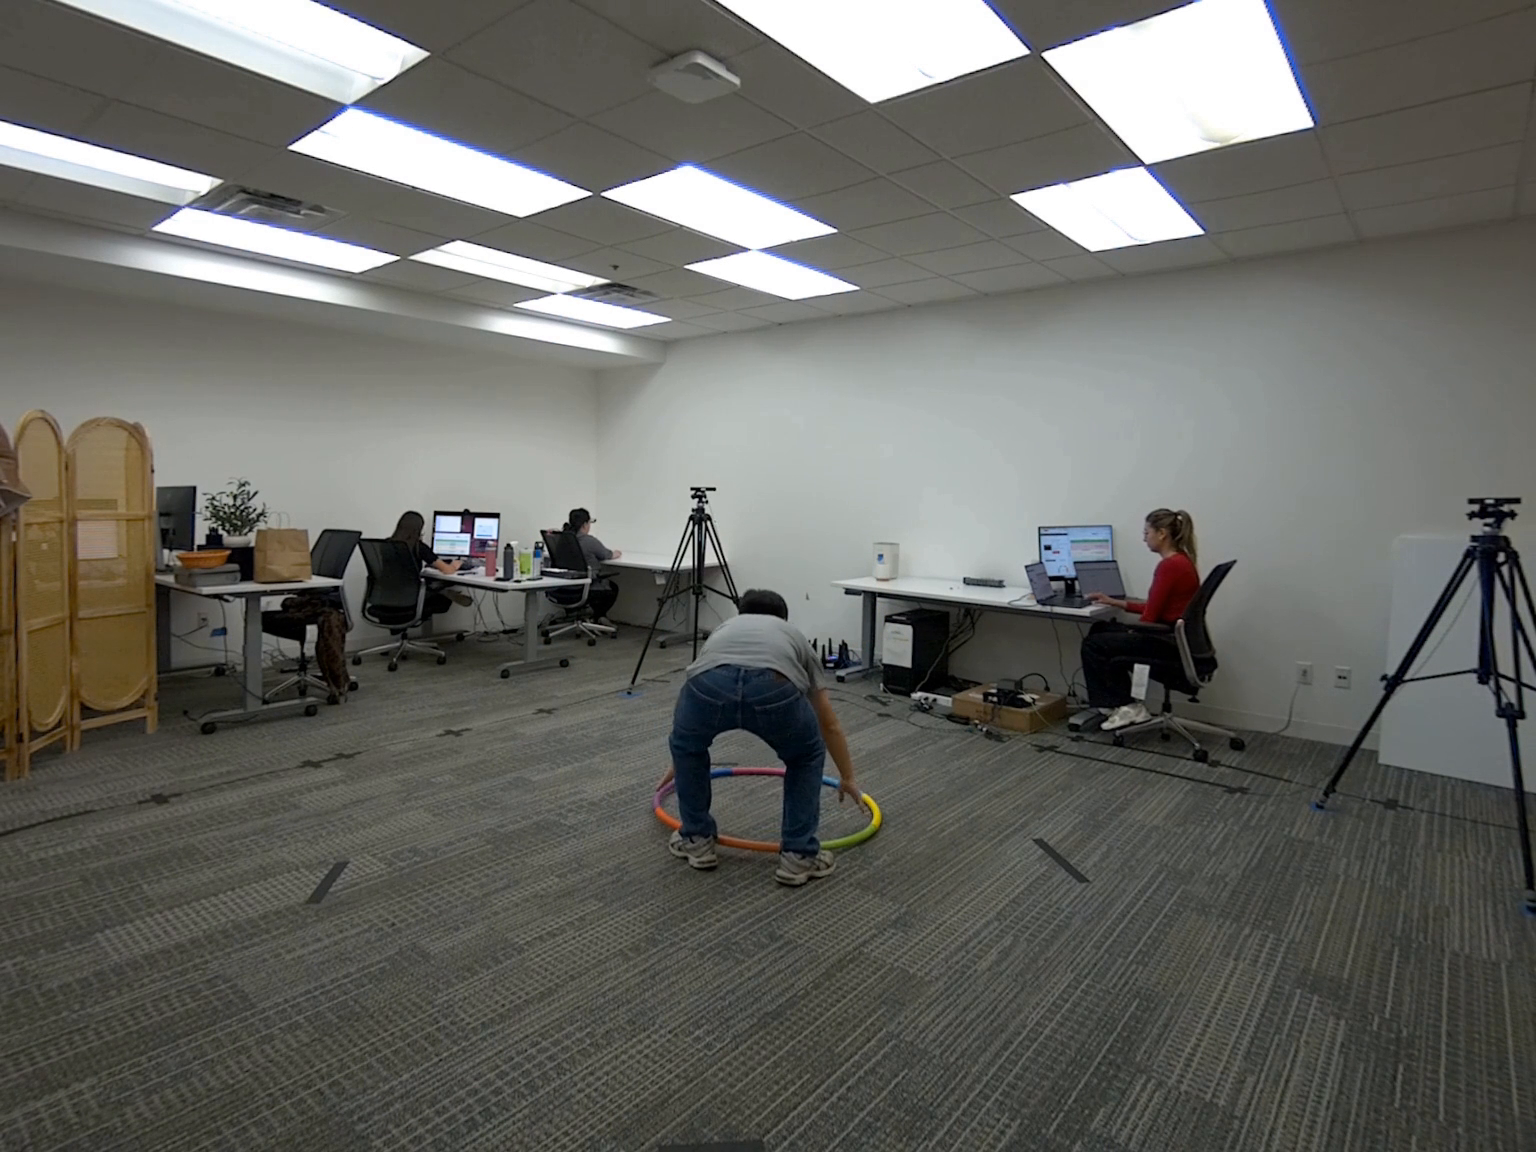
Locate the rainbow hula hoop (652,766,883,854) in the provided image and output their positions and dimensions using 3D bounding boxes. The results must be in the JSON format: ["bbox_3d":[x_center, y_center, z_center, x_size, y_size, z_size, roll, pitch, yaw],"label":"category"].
[{"bbox_3d":[-0.023,0.976,3.670,0.978,0.035,0.983,2,5,-2],"label":"rainbow hula hoop"}]
